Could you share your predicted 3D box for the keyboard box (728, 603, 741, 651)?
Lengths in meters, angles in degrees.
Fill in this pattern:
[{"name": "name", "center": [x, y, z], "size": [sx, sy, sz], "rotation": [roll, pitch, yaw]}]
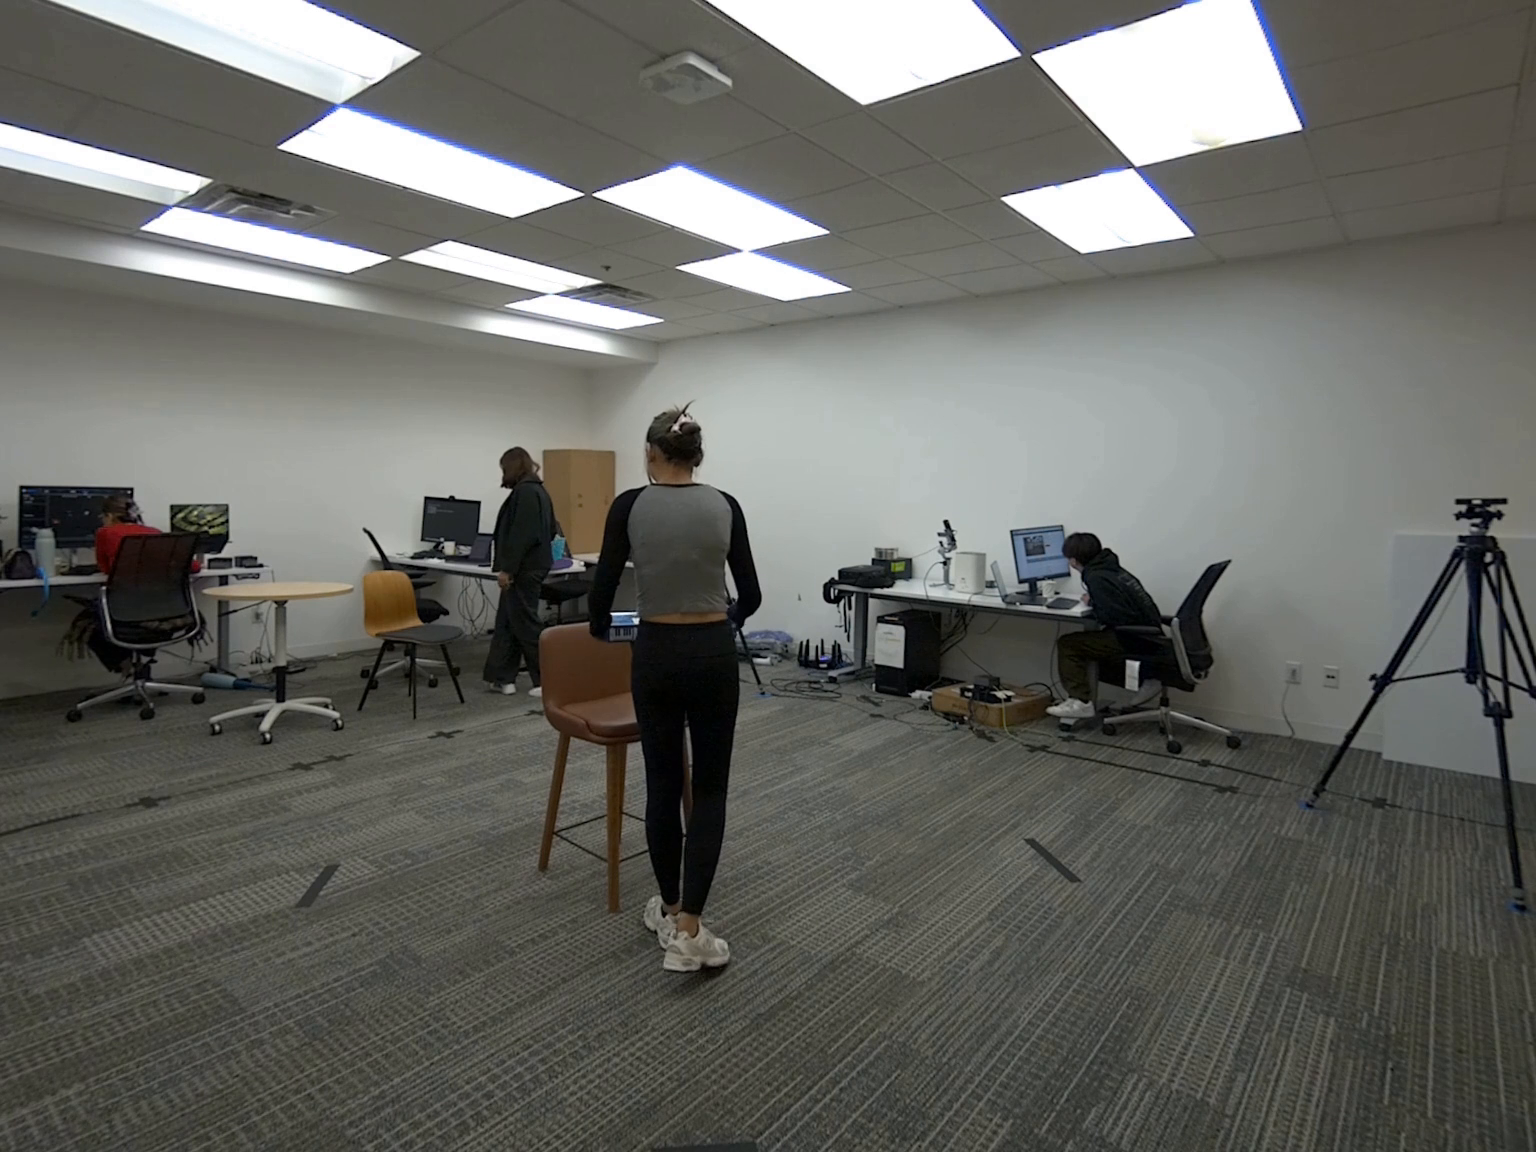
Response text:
[{"name": "keyboard box", "center": [-0.355, 0.170, 2.841], "size": [0.429, 0.059, 0.180], "rotation": [-1, 9, -16]}]
